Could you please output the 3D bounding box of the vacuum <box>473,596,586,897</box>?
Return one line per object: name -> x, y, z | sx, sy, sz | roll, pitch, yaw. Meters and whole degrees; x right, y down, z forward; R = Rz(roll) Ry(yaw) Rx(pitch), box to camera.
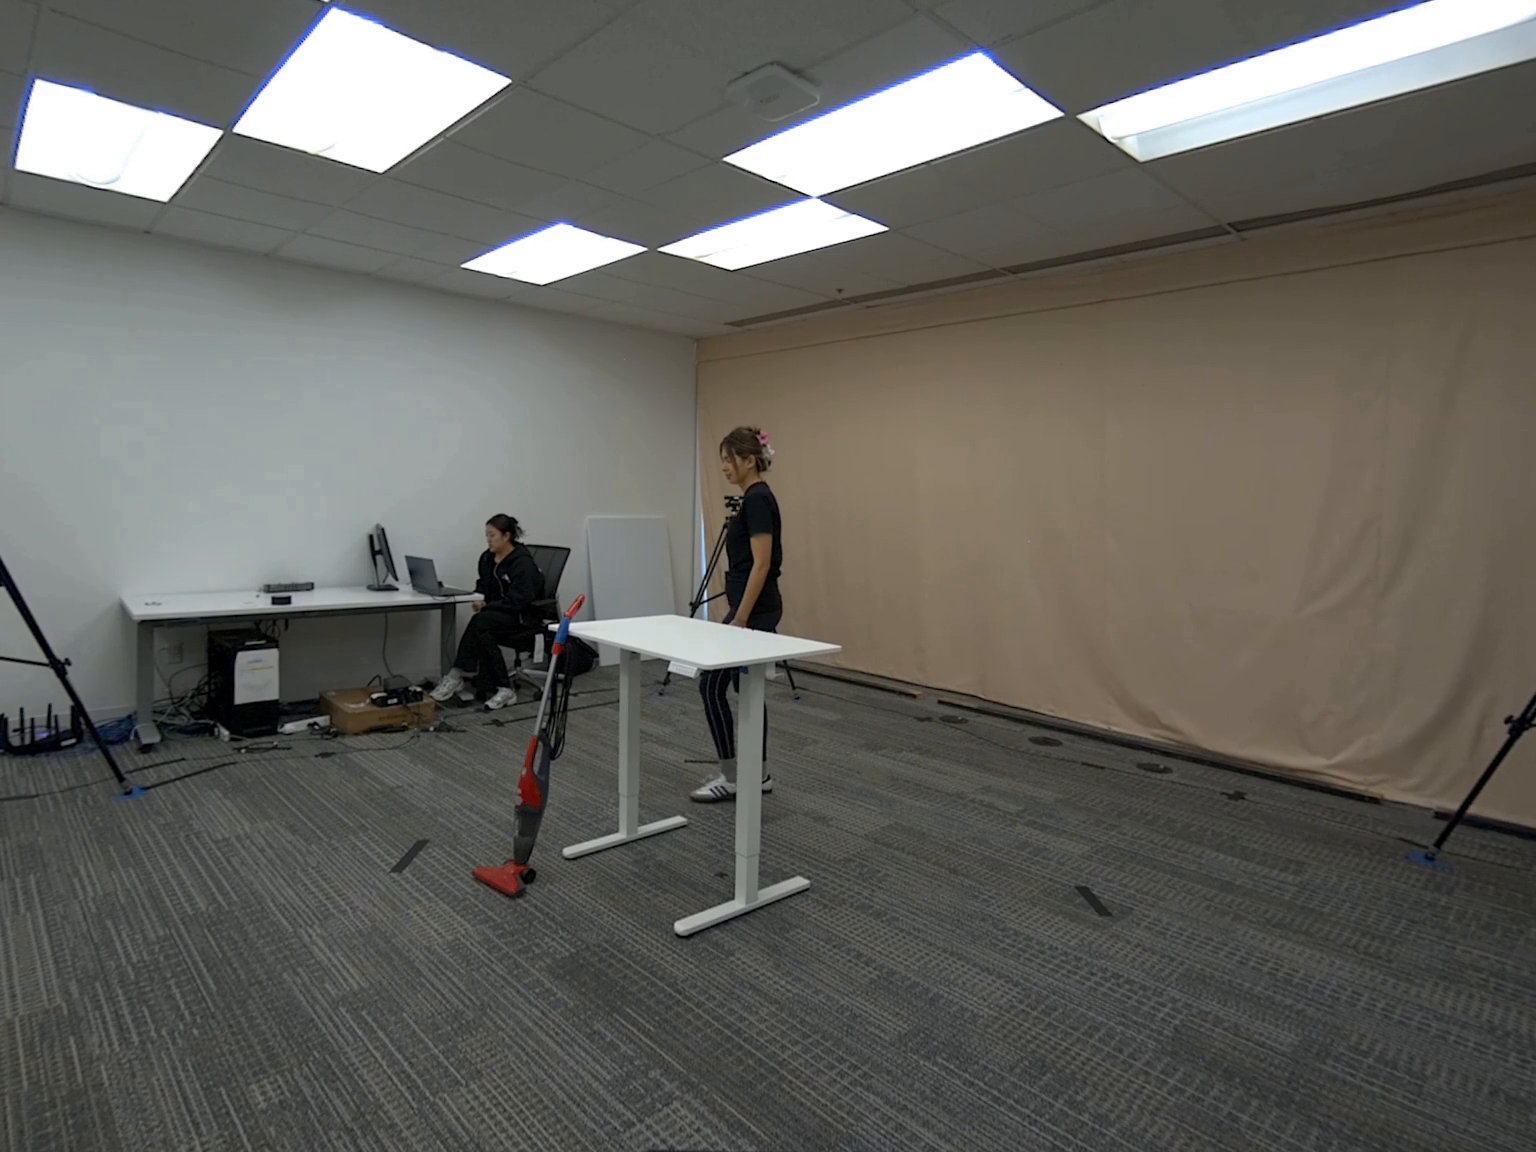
vacuum -> -0.830, 0.593, 3.099 | 0.259, 1.055, 0.139 | 3, -15, 41
